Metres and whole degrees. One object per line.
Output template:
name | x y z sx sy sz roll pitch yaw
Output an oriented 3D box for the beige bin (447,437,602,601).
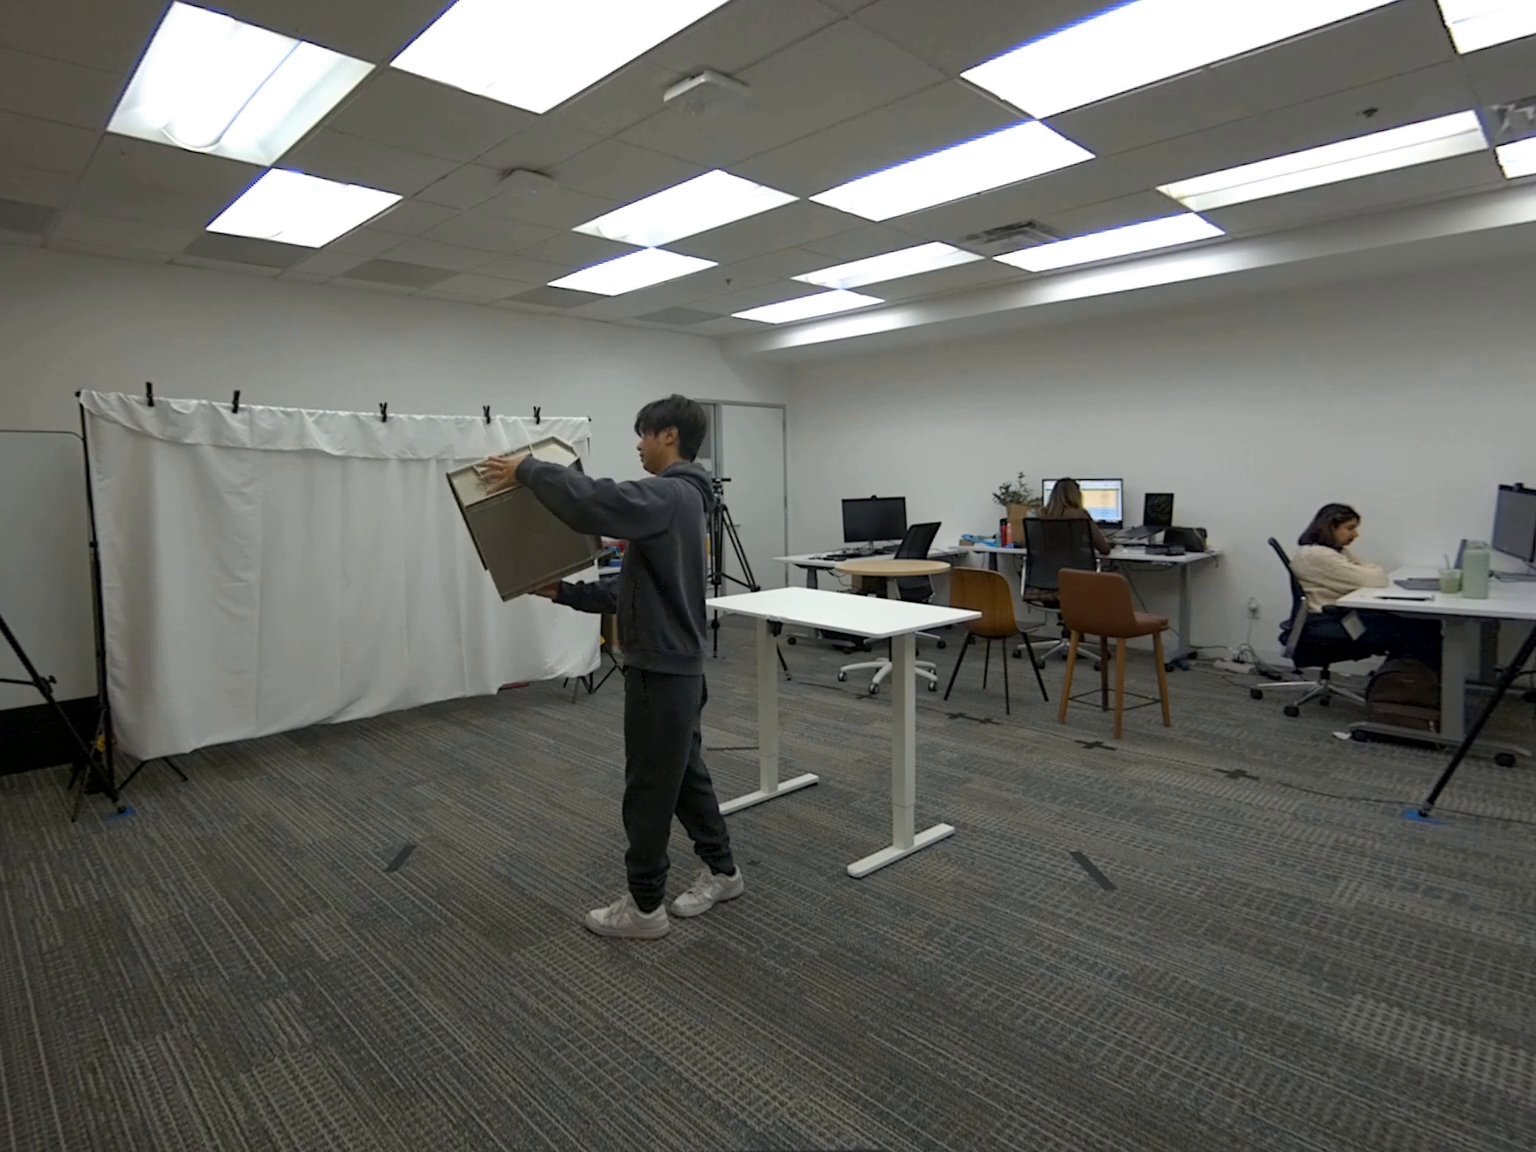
beige bin | -0.730 -0.177 2.658 0.374 0.410 0.196 -23 48 -17
